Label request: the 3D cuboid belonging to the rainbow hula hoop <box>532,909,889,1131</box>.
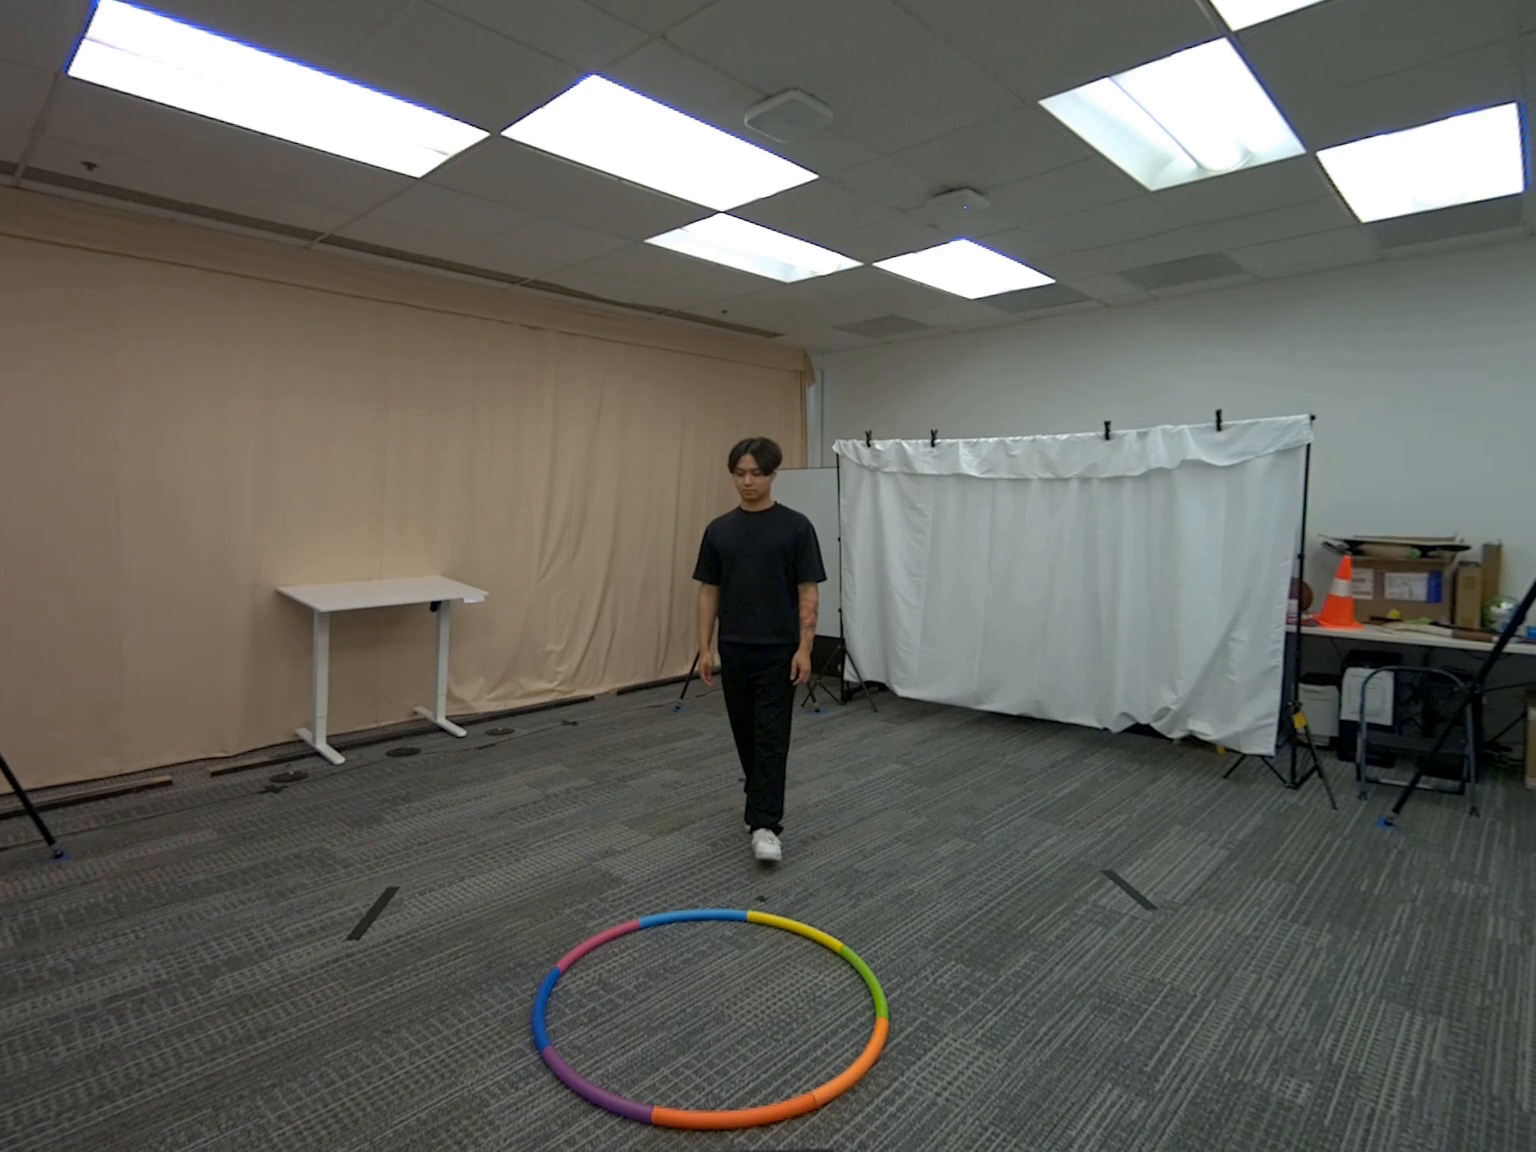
[{"bbox_3d":[-0.156,1.168,2.364,0.978,0.035,0.982,-1,5,-2],"label":"rainbow hula hoop"}]
